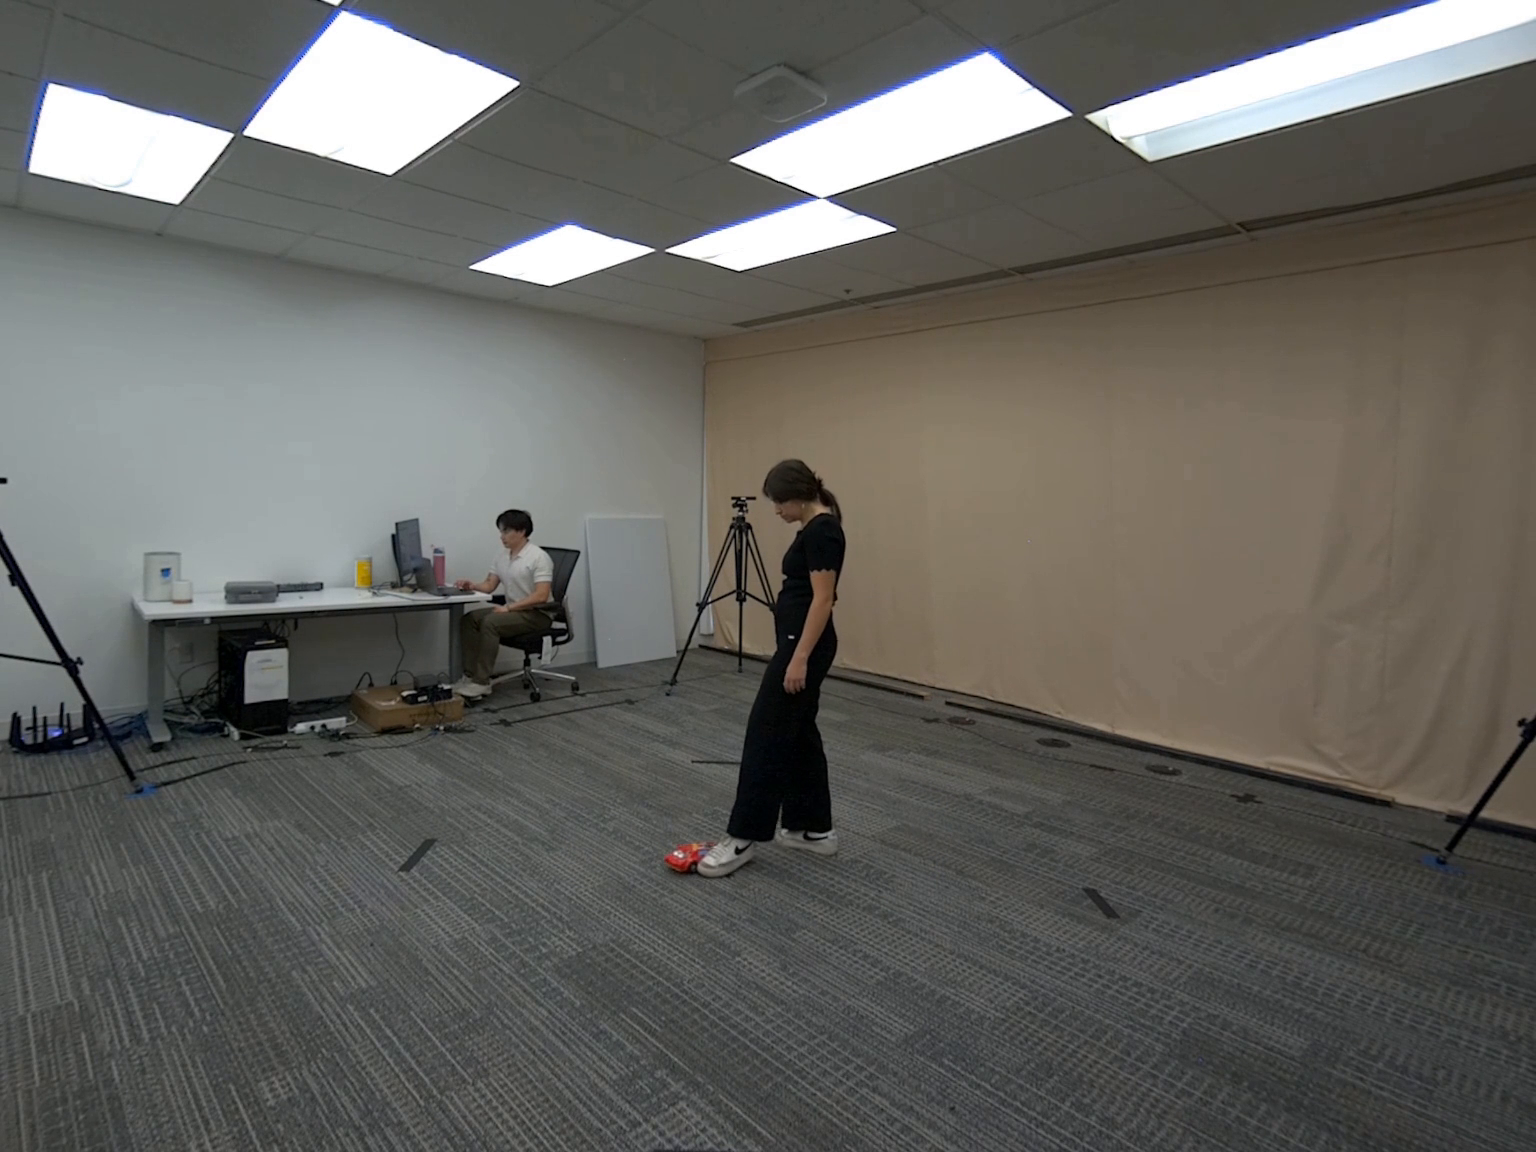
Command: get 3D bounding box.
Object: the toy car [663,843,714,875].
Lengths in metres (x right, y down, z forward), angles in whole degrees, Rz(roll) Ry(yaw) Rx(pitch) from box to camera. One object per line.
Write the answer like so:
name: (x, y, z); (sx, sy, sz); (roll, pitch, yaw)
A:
toy car: (-0.286, 1.058, 3.189); (0.247, 0.083, 0.133); (12, -5, -44)
